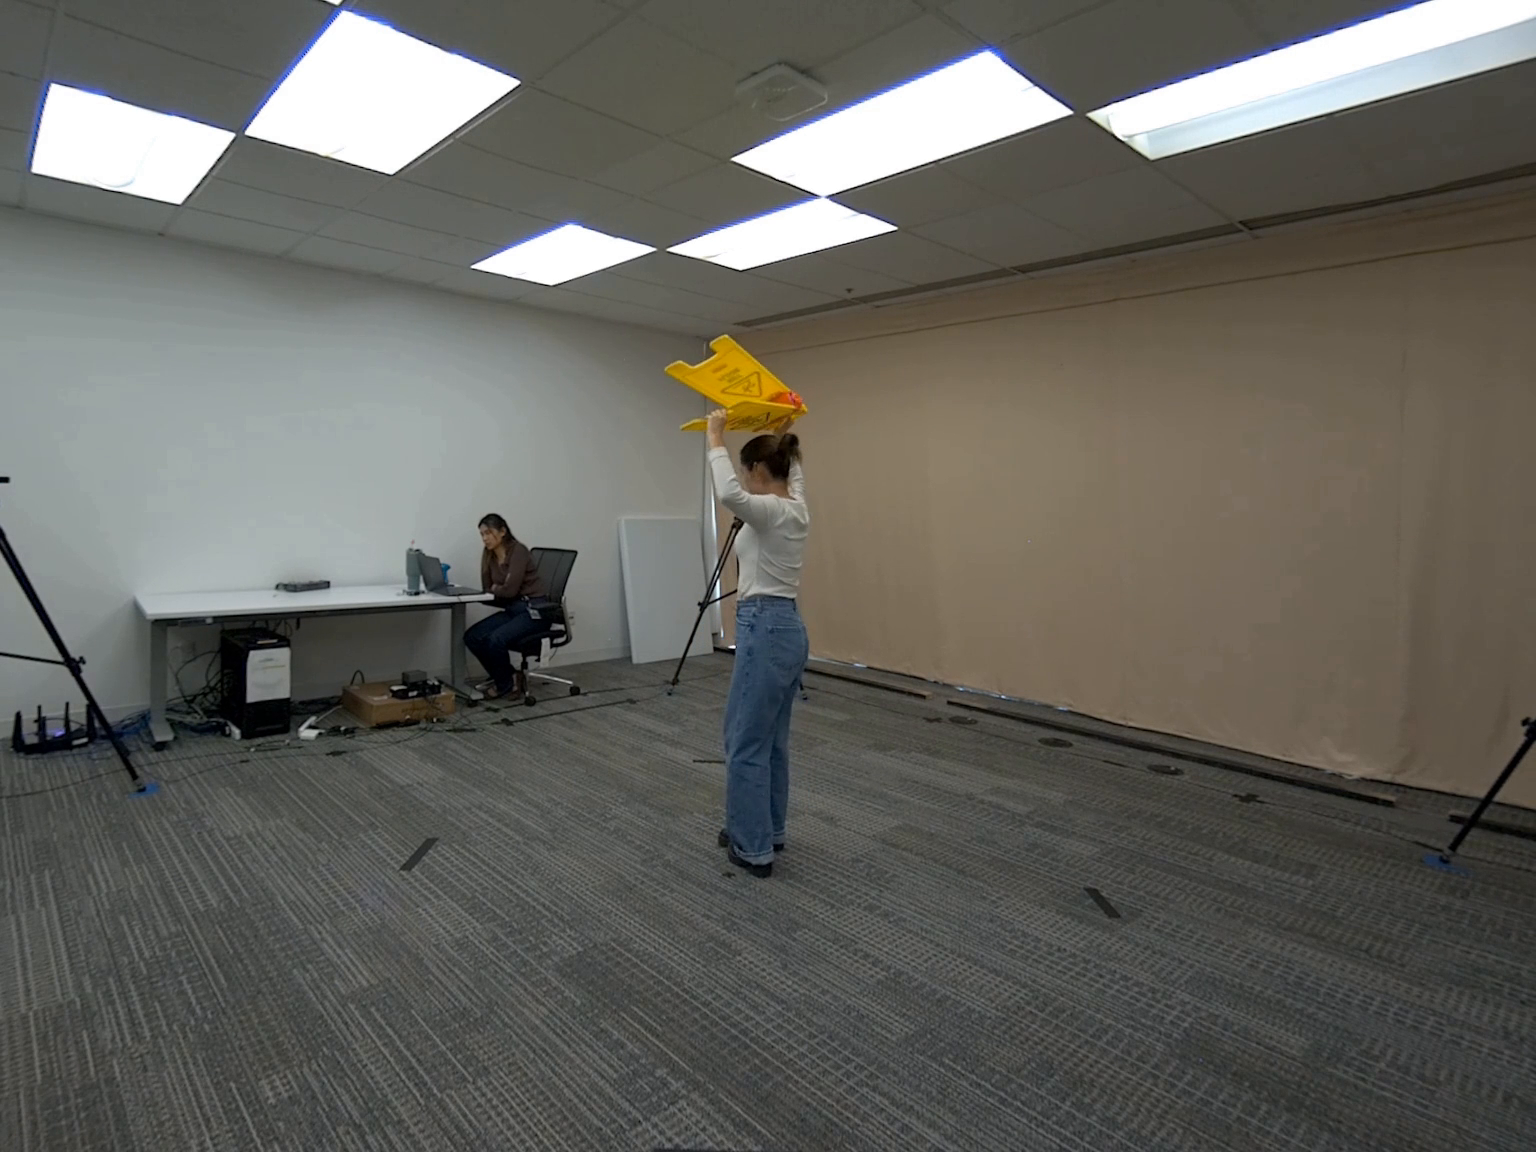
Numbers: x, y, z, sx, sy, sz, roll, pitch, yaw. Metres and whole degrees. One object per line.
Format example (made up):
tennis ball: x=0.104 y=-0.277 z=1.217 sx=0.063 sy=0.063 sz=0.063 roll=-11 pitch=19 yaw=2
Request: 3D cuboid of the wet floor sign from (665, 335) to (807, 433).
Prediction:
wet floor sign: x=-0.077 y=-0.663 z=3.231 sx=0.285 sy=0.293 sz=0.632 roll=-20 pitch=-11 yaw=27
